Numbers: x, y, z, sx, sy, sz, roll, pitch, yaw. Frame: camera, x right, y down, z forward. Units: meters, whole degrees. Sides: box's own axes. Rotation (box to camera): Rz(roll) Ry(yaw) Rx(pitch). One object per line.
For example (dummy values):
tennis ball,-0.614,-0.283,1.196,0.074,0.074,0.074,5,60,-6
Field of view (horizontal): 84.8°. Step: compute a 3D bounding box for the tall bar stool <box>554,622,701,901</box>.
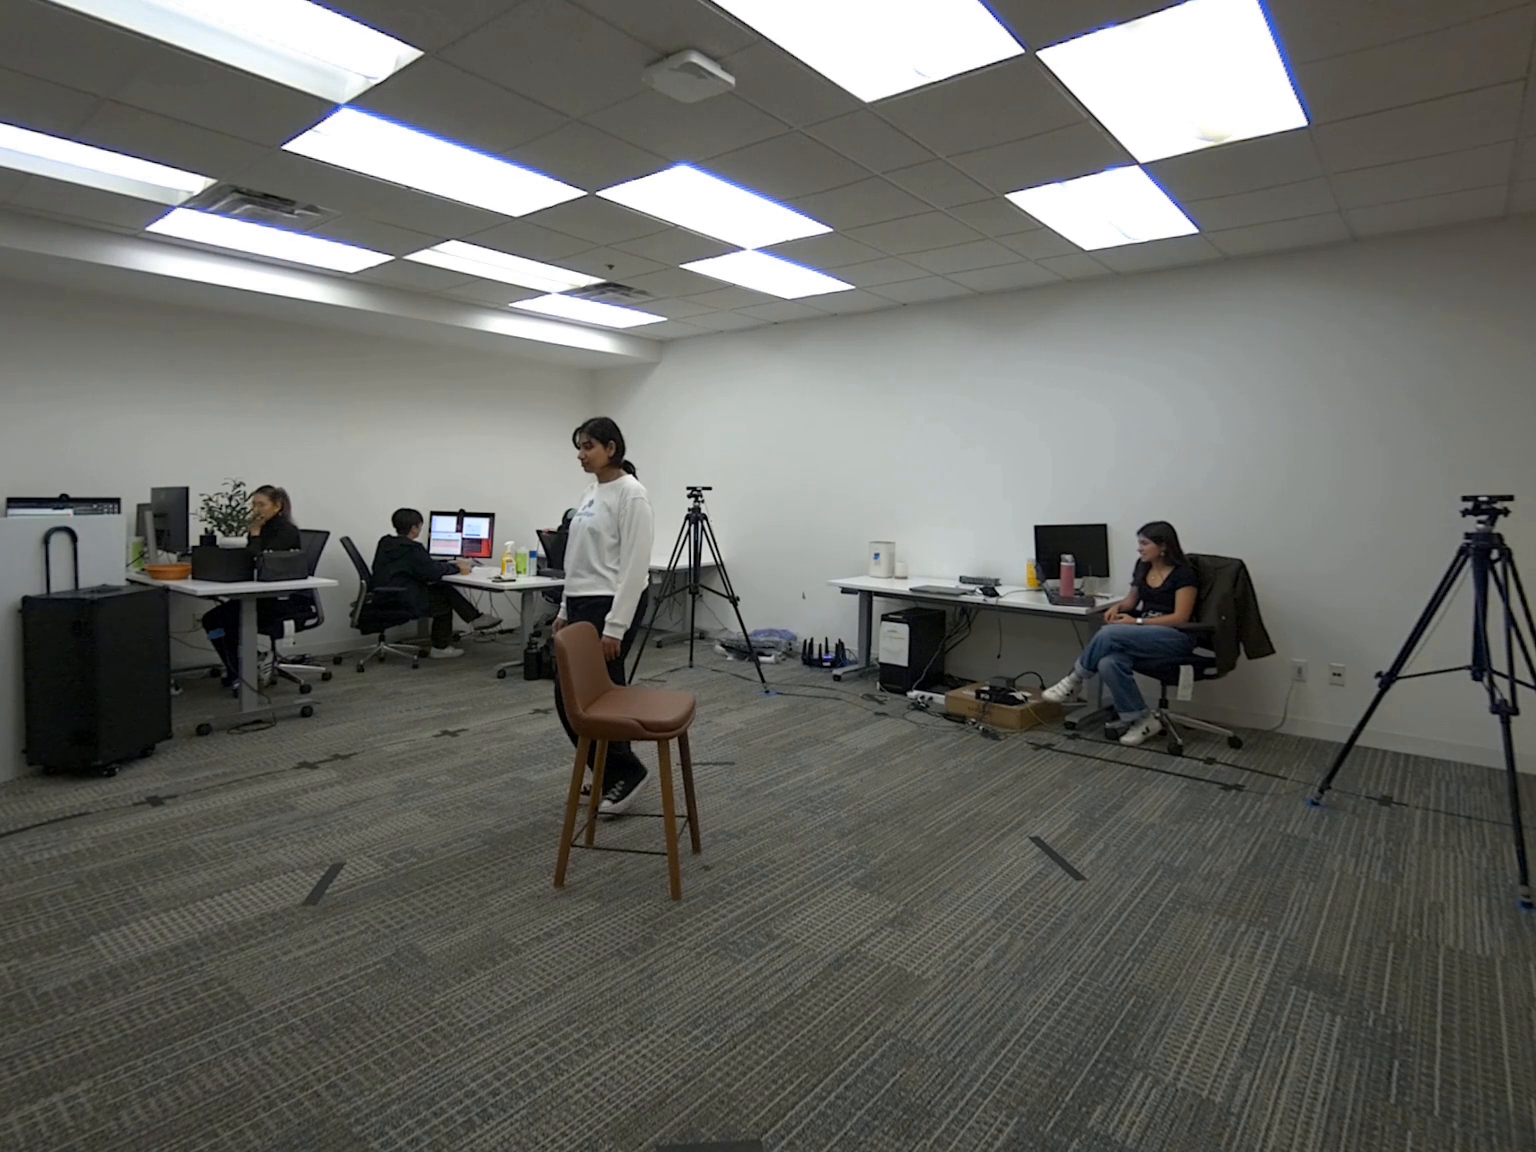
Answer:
tall bar stool,-0.502,0.631,3.067,0.472,0.888,0.453,-1,3,8
